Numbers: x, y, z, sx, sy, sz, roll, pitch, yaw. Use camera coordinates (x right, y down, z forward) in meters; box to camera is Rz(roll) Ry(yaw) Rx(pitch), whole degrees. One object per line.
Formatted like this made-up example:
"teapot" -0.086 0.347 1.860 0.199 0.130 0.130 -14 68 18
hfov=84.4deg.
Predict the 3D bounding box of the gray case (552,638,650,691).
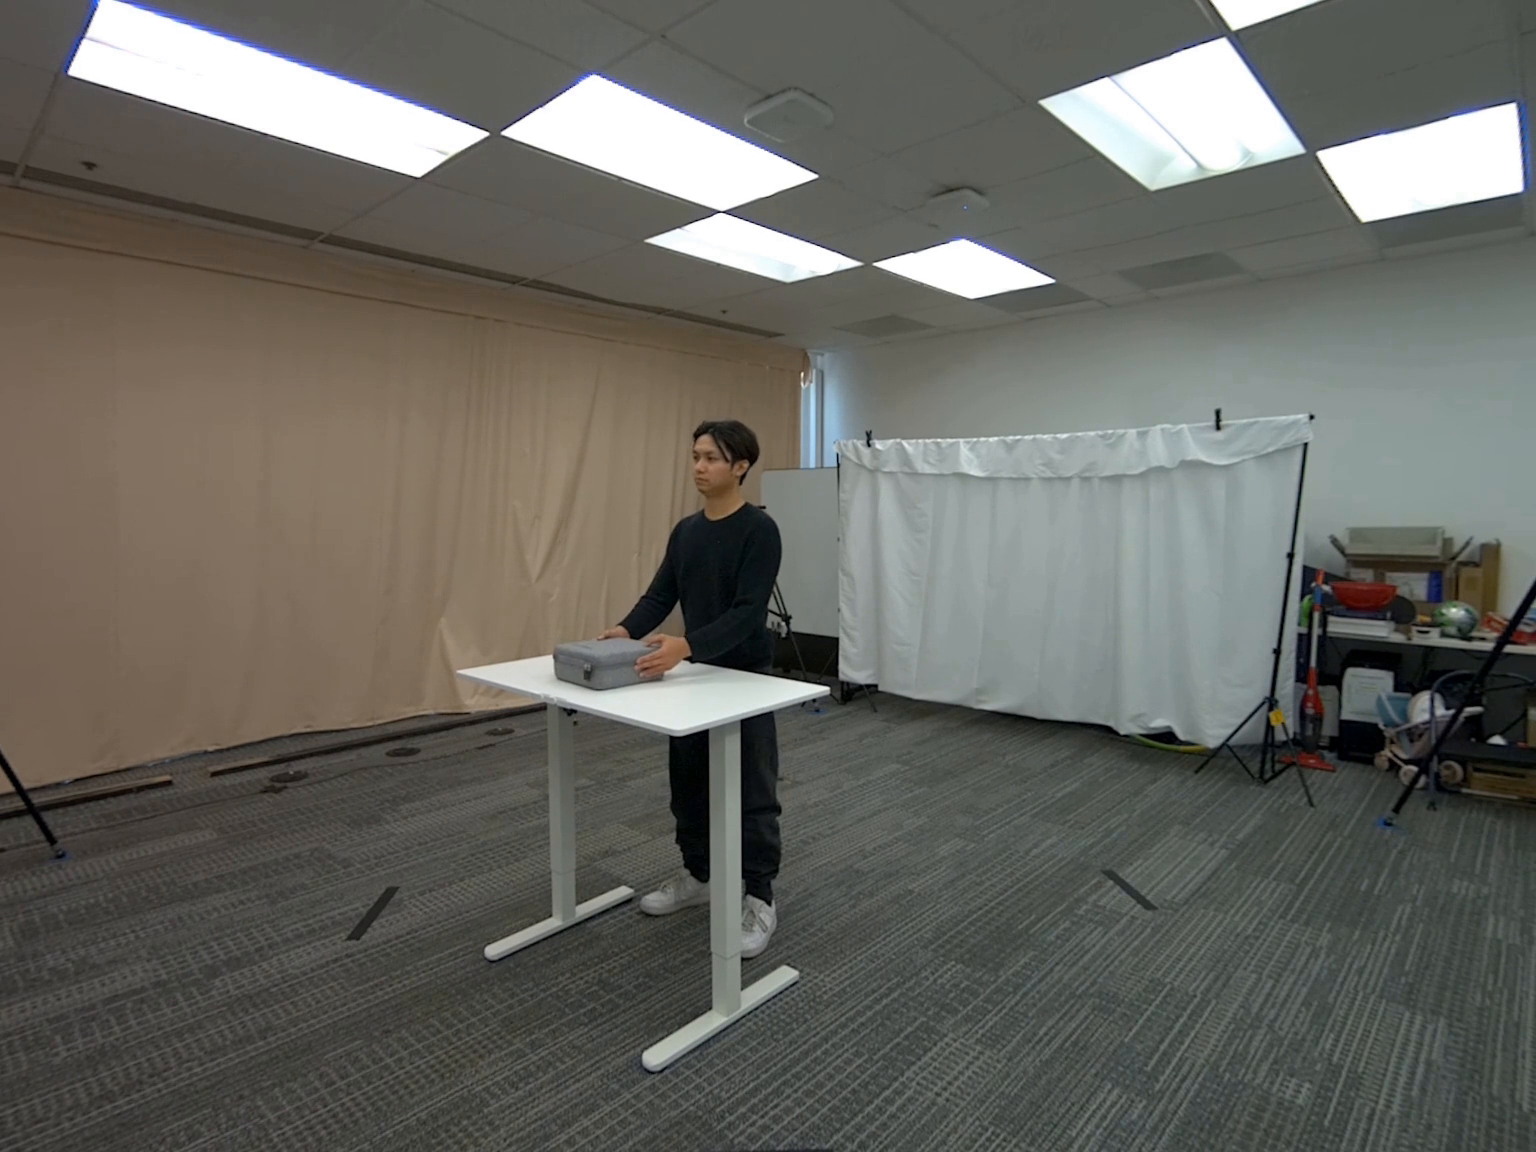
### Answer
"gray case" -0.474 0.254 2.487 0.253 0.104 0.265 -6 7 -43
